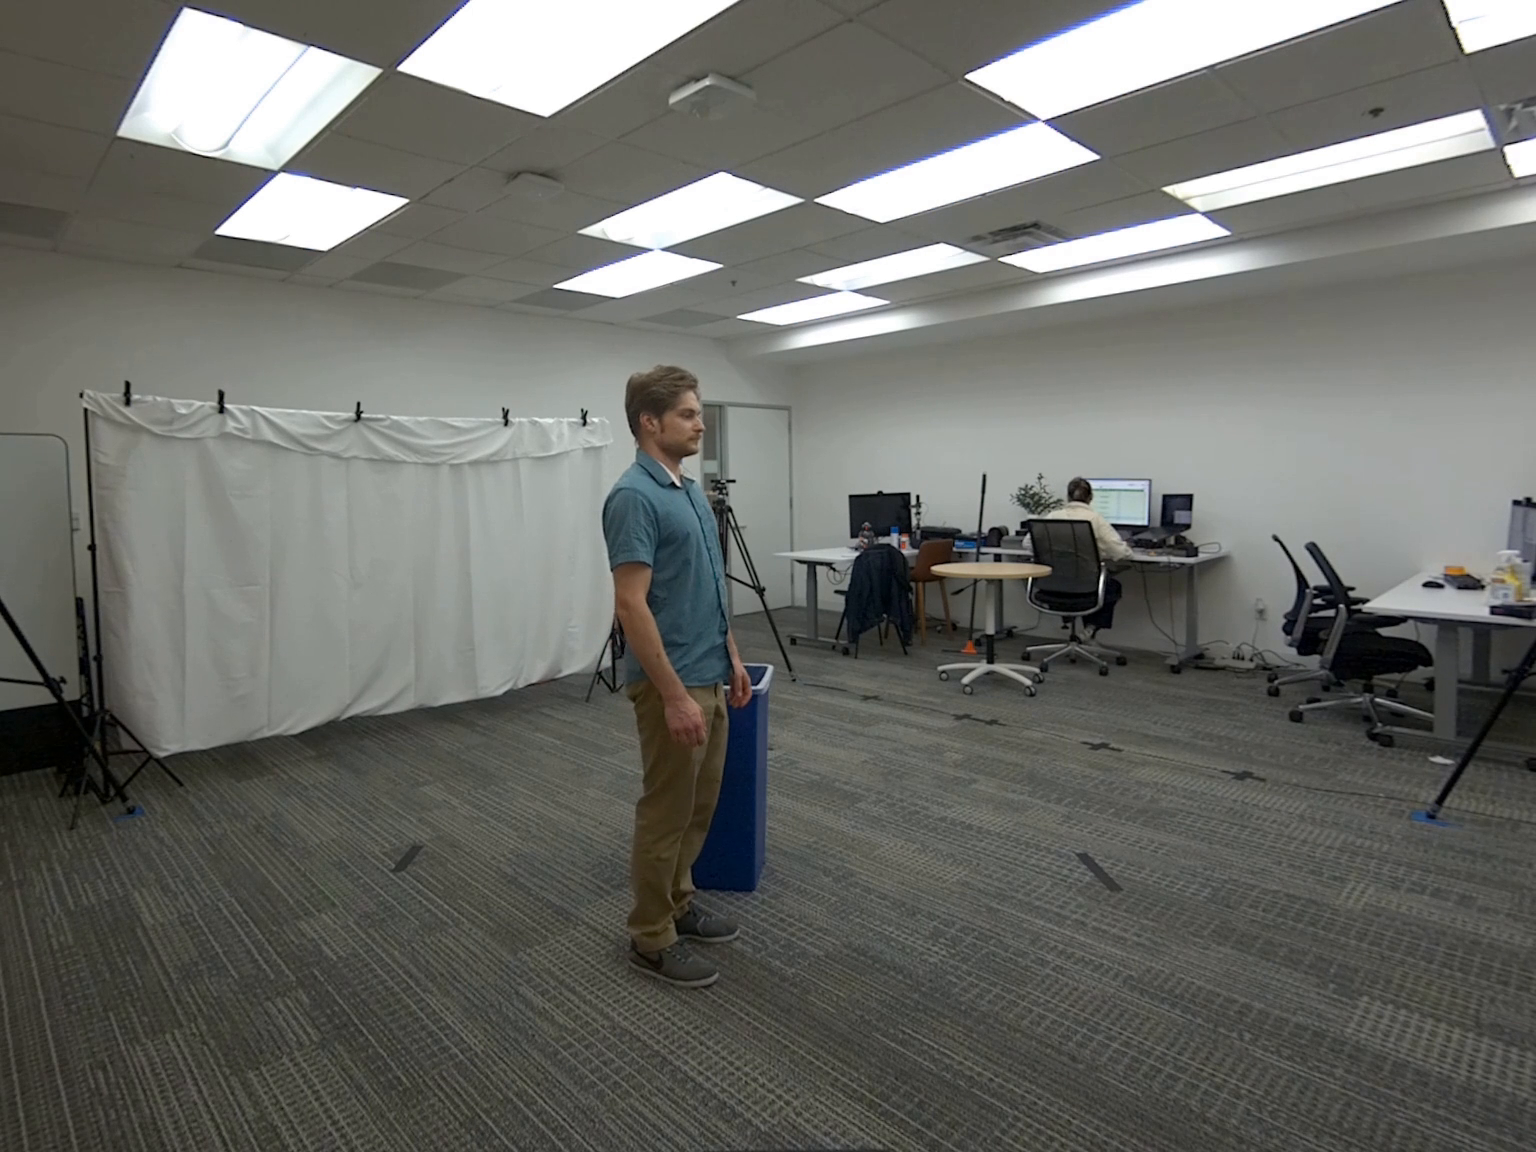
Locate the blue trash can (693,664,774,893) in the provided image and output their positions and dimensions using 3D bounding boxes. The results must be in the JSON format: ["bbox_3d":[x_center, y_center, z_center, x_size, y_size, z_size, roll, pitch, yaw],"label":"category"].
[{"bbox_3d":[-0.168,0.699,3.033,0.381,0.711,0.372,0,3,7],"label":"blue trash can"}]
